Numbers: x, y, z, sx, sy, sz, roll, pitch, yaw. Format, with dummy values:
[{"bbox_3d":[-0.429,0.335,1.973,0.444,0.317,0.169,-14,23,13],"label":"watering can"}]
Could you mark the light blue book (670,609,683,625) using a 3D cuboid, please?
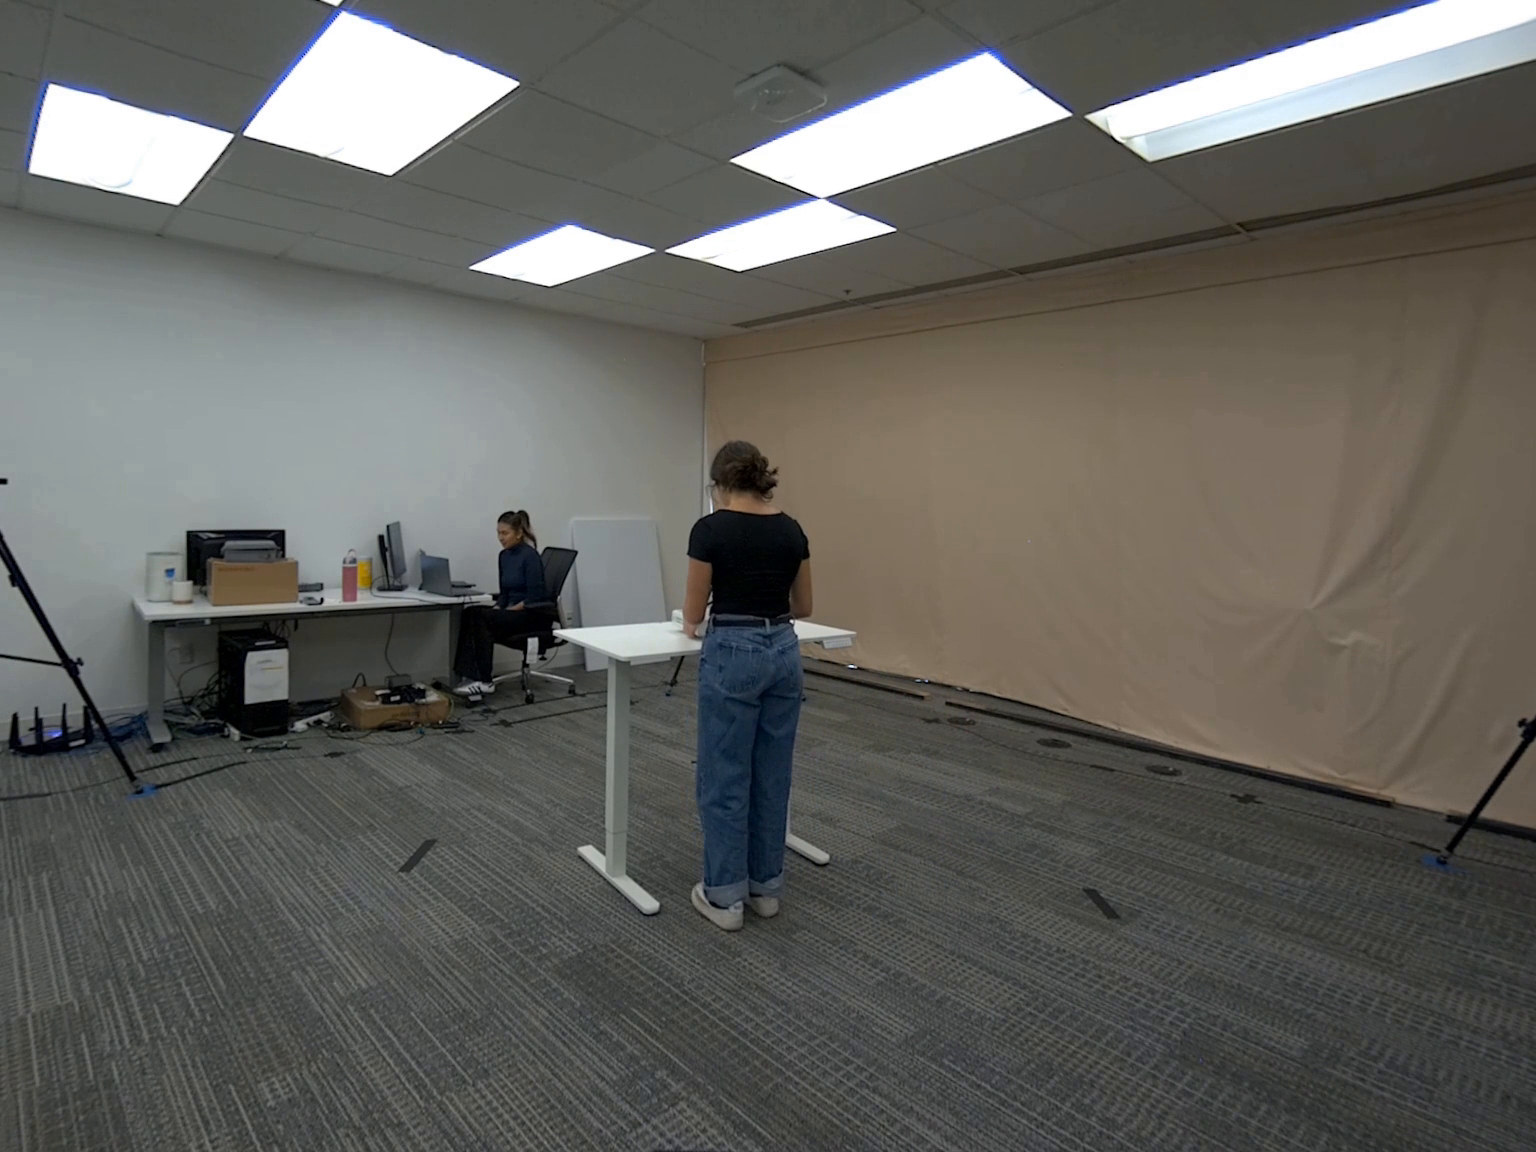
[{"bbox_3d":[-0.227,0.176,3.142,0.188,0.059,0.266,-1,6,-24],"label":"light blue book"}]
